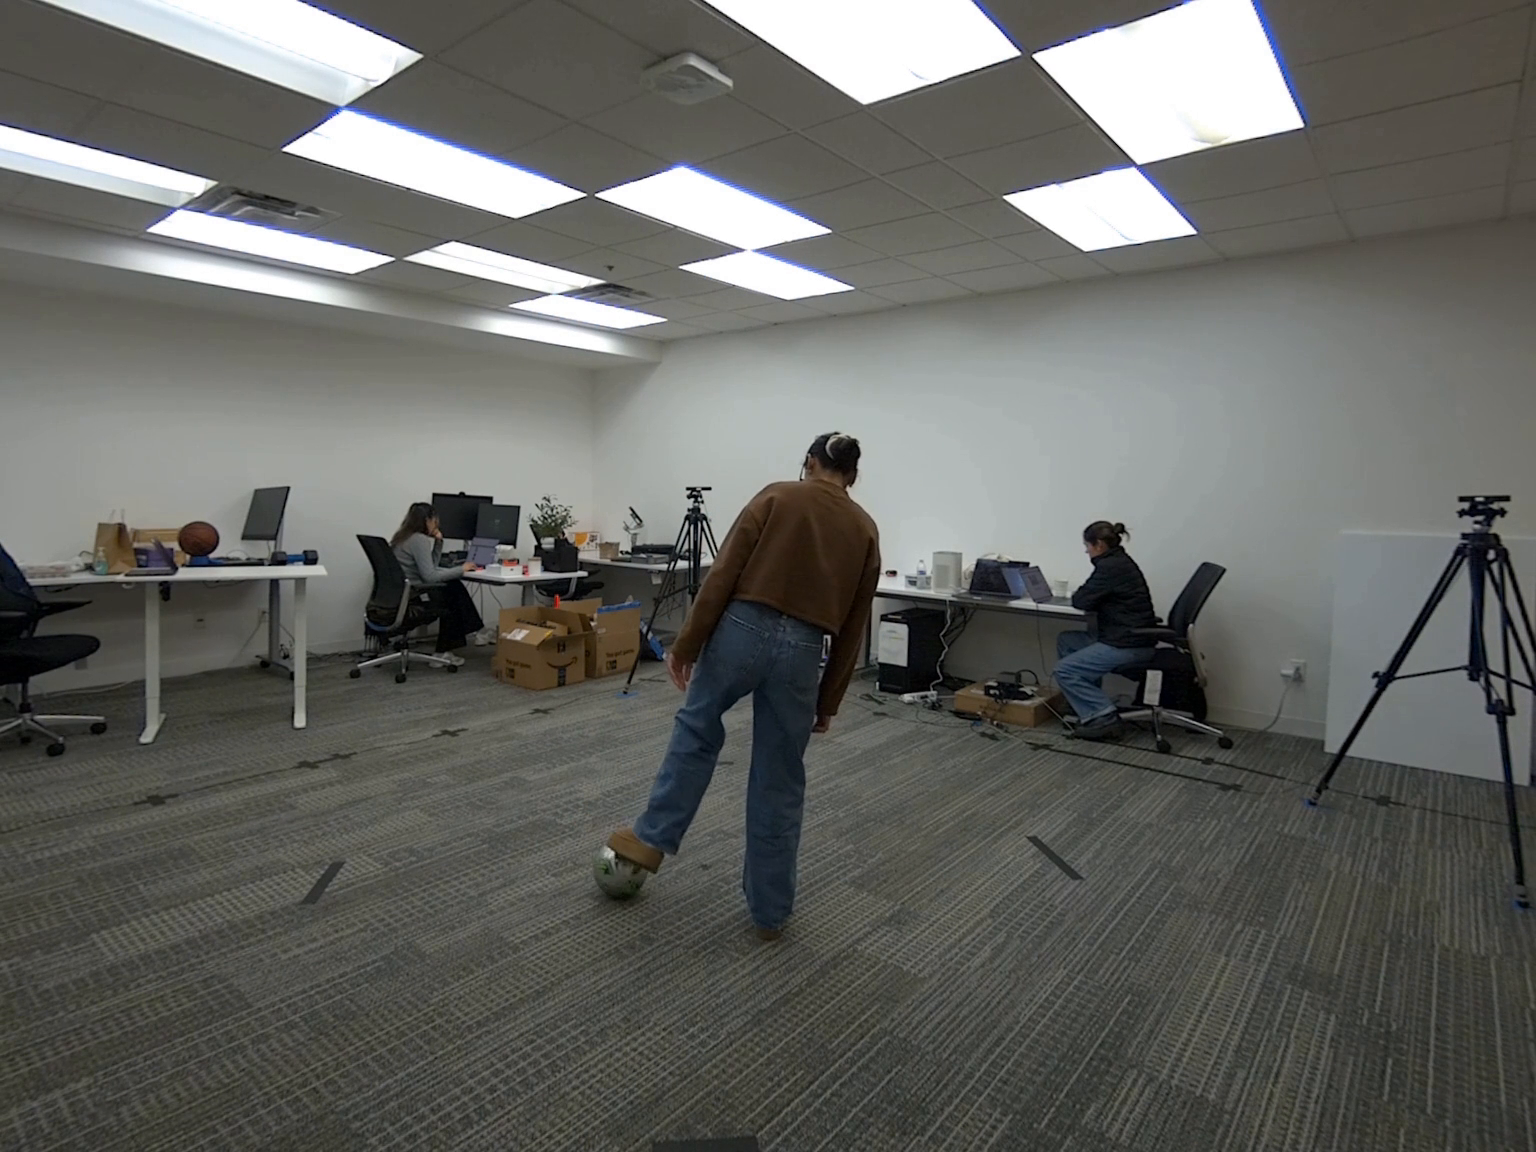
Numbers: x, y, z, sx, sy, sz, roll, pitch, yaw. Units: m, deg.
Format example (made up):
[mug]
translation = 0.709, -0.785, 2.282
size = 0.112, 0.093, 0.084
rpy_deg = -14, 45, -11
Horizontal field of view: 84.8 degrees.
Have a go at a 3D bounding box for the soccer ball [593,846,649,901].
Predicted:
[soccer ball]
translation = -0.504, 0.989, 2.894
size = 0.187, 0.187, 0.188
rpy_deg = 1, 4, -2
